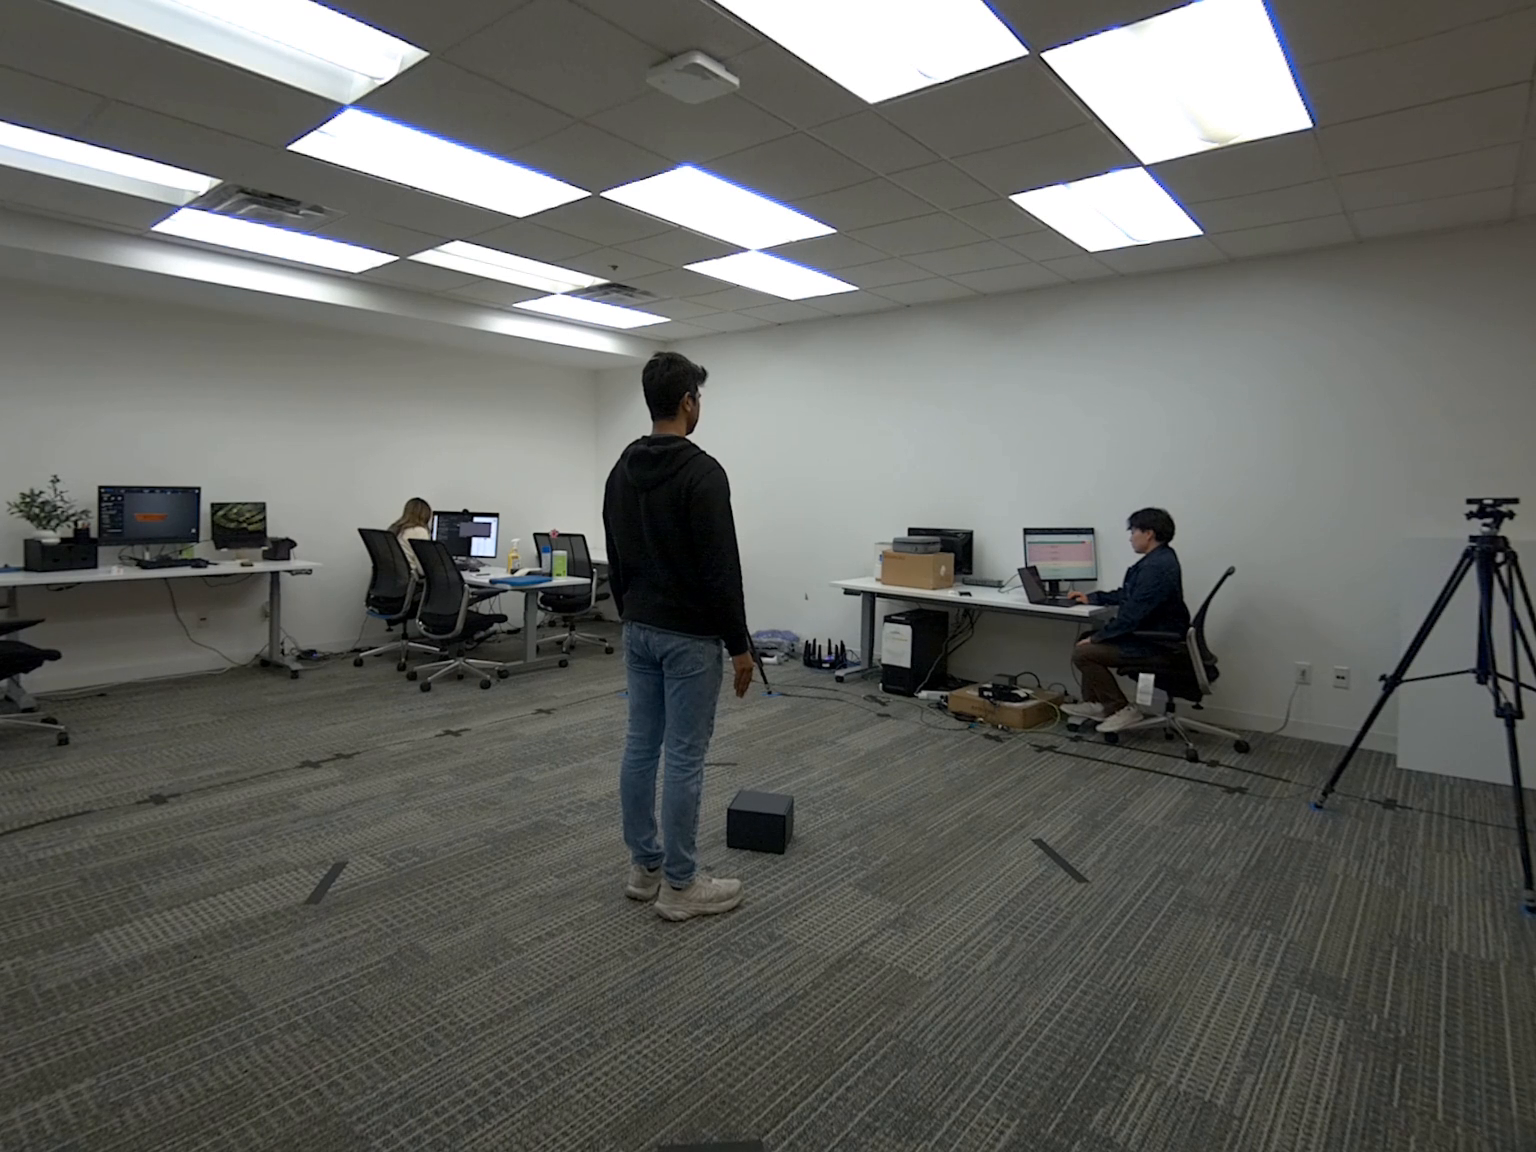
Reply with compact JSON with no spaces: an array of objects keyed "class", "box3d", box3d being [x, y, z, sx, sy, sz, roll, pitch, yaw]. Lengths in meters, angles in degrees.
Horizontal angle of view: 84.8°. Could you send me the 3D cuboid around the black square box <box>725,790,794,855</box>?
[{"class":"black square box","box3d":[-0.036,0.958,3.362,0.231,0.155,0.215,3,5,13]}]
